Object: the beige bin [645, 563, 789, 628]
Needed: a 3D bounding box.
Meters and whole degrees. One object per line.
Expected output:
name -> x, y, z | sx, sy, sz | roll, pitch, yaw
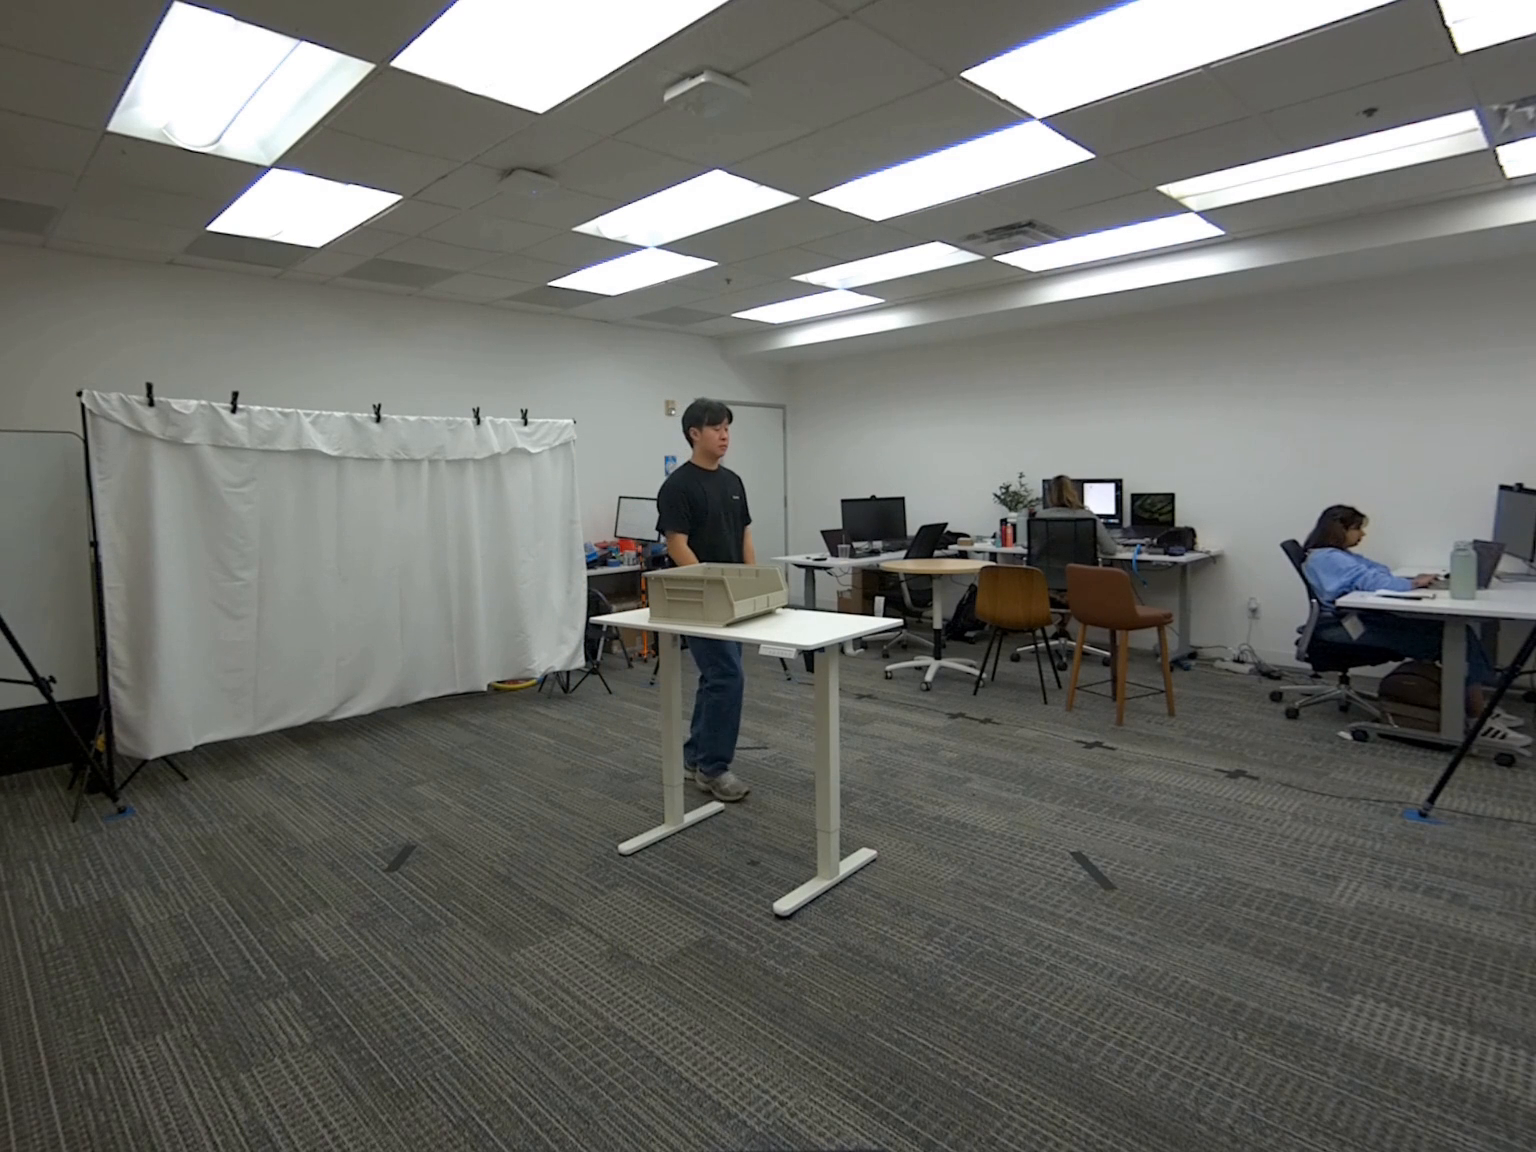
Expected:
beige bin -> -0.187, 0.071, 3.166 | 0.387, 0.188, 0.413 | 1, 7, 29
